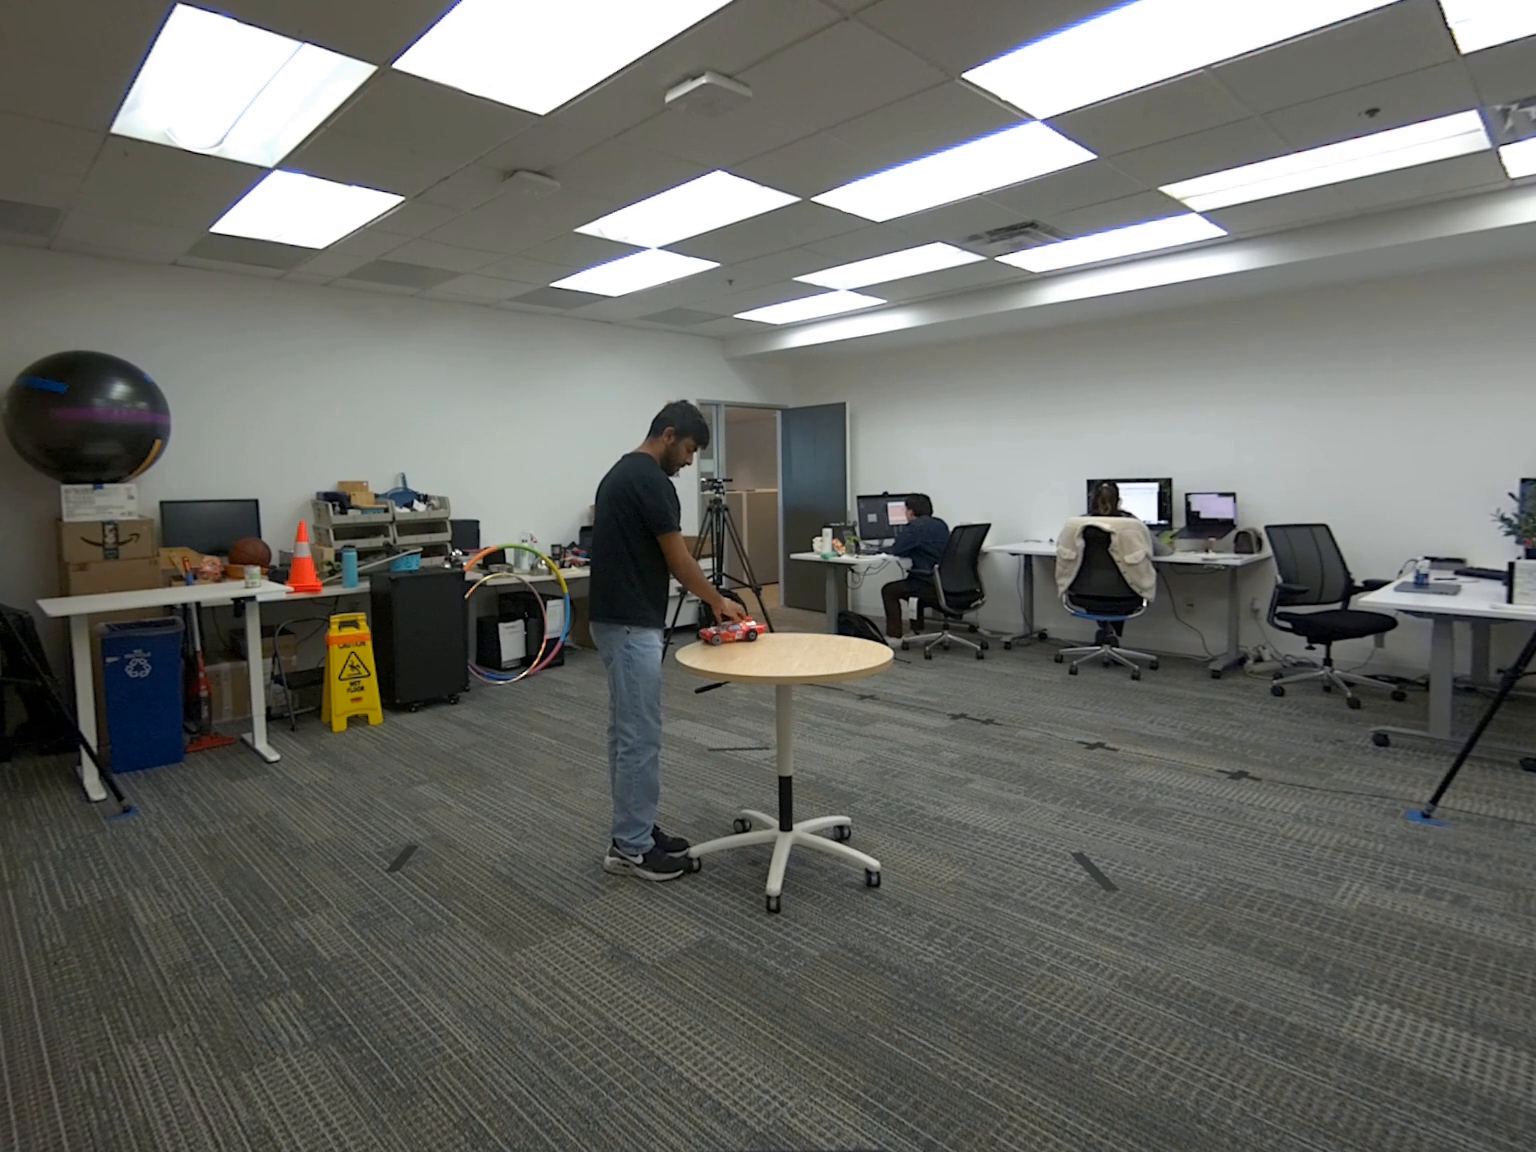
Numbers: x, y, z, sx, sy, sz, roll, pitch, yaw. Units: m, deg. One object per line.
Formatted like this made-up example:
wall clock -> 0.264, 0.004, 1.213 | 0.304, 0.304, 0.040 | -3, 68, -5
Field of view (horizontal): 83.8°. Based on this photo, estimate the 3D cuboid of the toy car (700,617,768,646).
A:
toy car -> -0.129, 0.215, 3.250 | 0.251, 0.082, 0.133 | -16, 10, -21
